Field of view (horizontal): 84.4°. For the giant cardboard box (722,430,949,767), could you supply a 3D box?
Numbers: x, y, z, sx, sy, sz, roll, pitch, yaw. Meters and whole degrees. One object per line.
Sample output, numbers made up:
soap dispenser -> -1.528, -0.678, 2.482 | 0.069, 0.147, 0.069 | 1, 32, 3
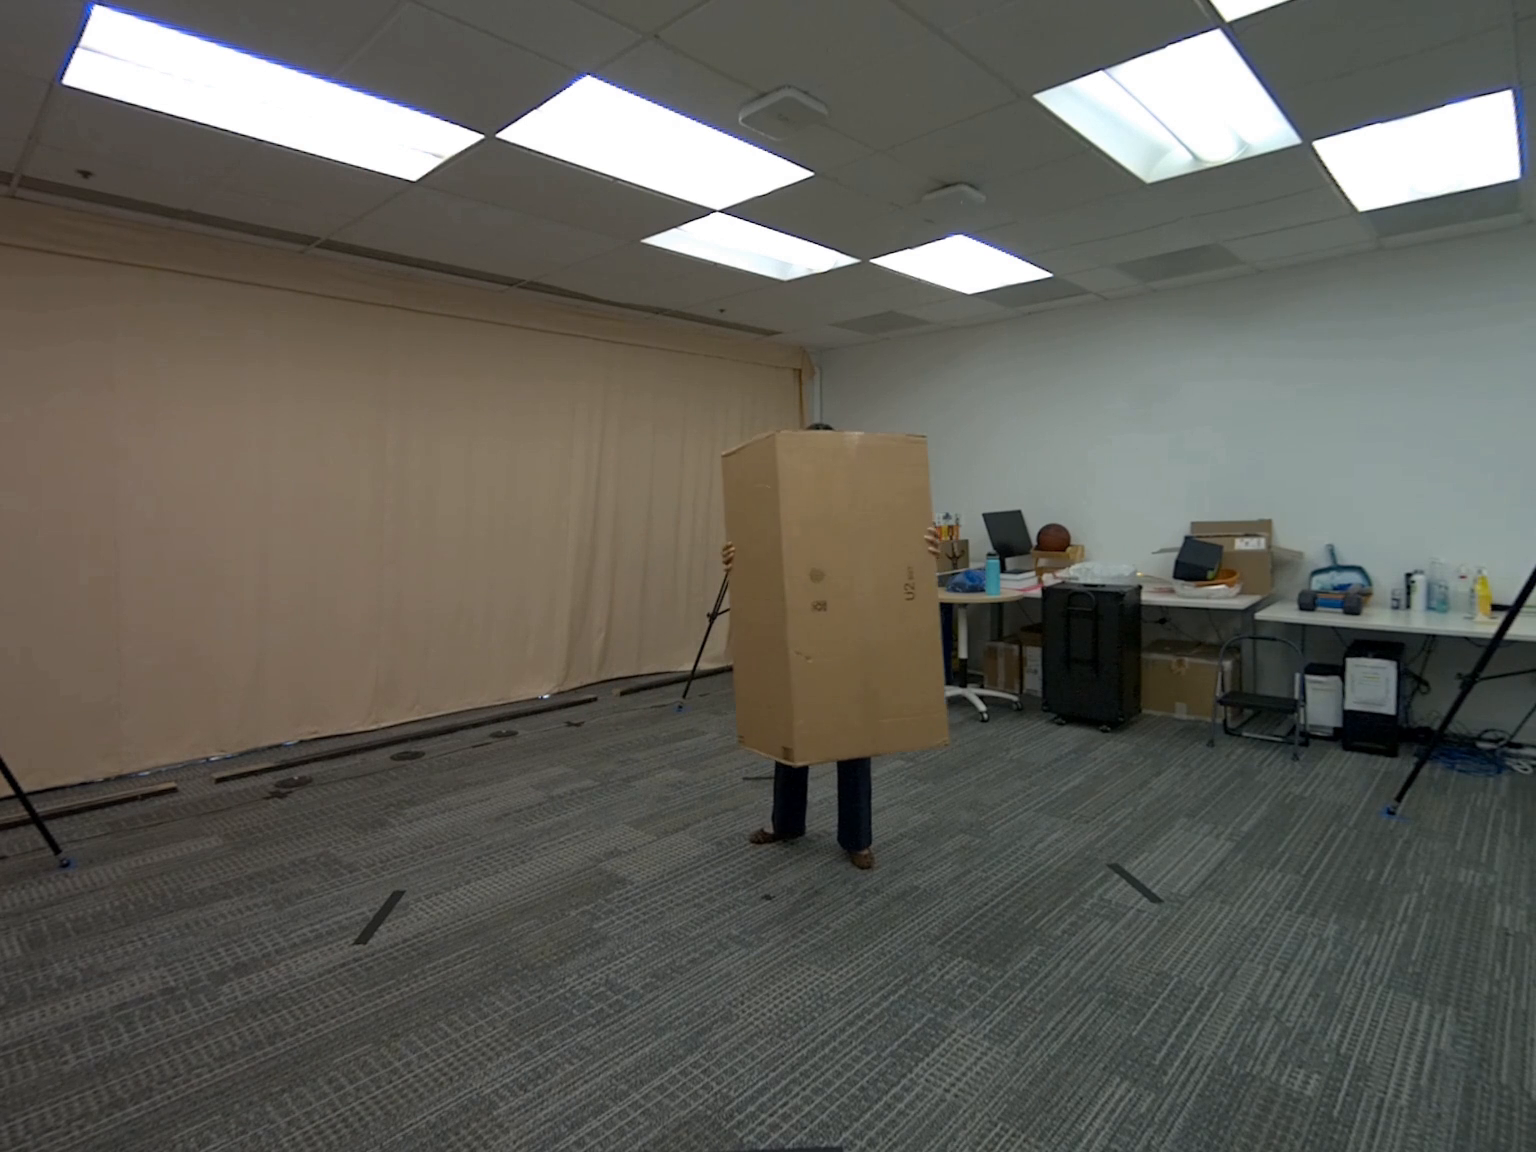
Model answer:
giant cardboard box -> 0.213, 0.063, 2.851 | 0.564, 1.028, 0.435 | -2, -3, -25
